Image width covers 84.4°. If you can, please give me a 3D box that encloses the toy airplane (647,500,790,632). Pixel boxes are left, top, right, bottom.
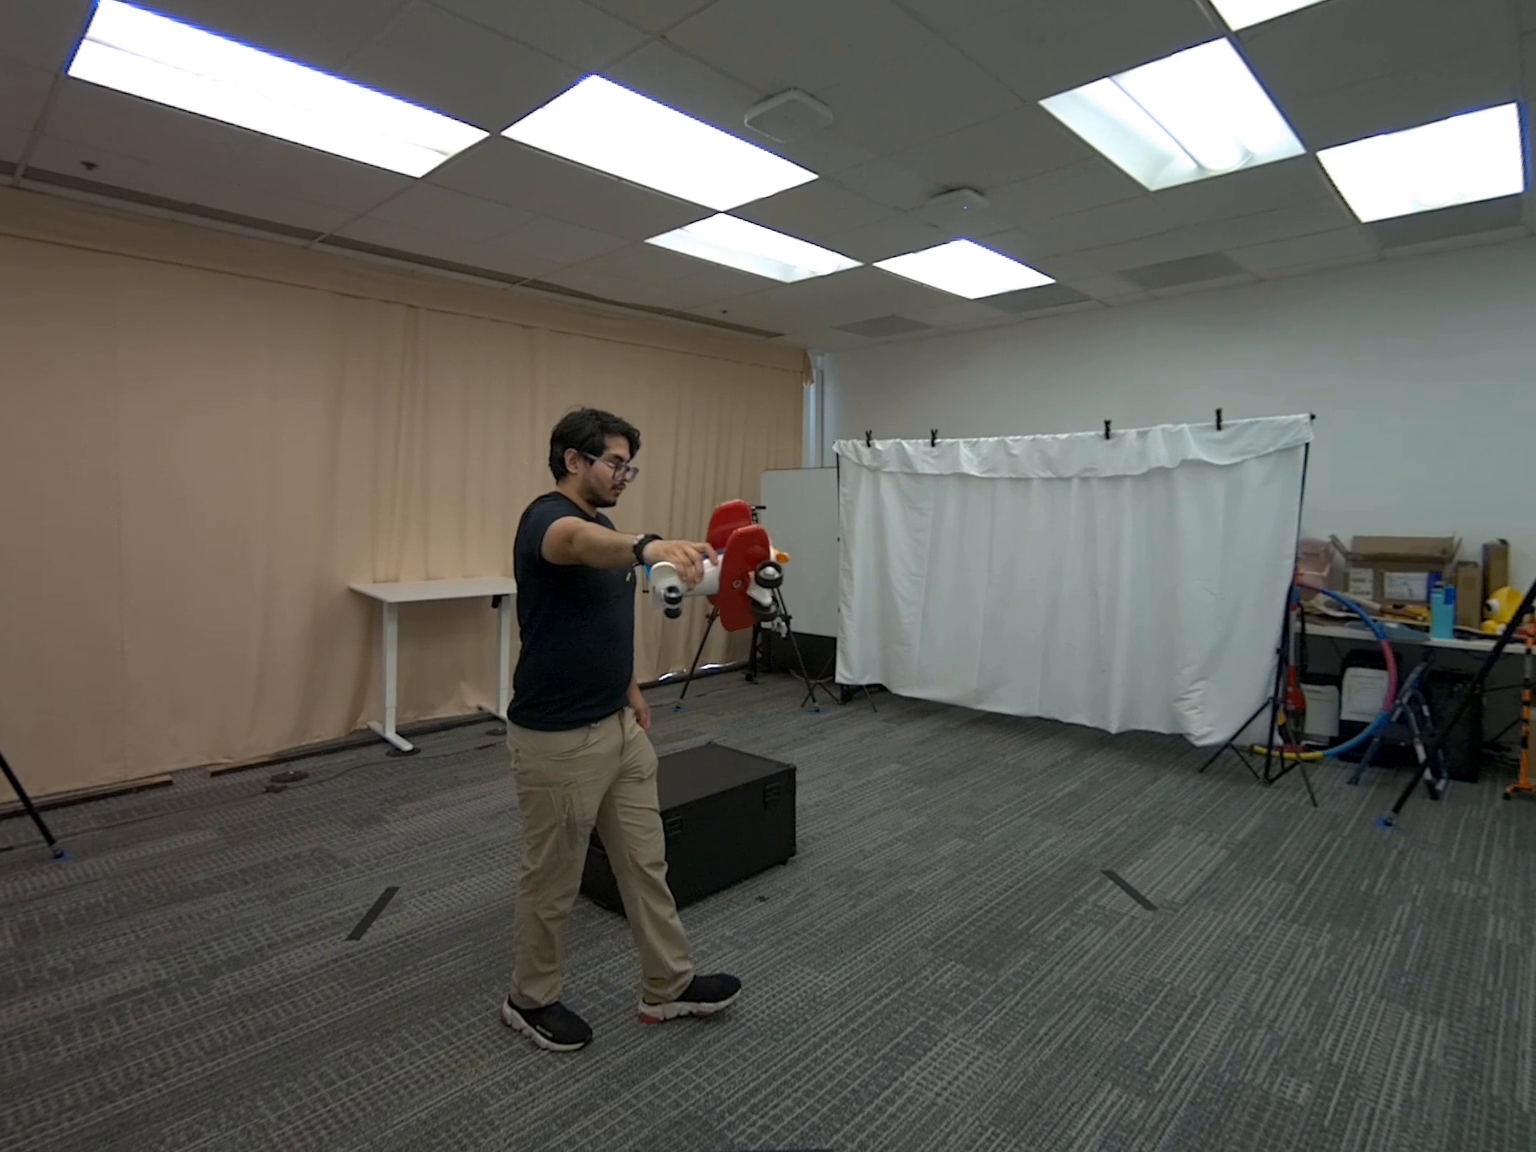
[{"bbox_3d":[-0.091,-0.015,1.545,0.252,0.252,0.160,22,32,-27],"label":"toy airplane"}]
